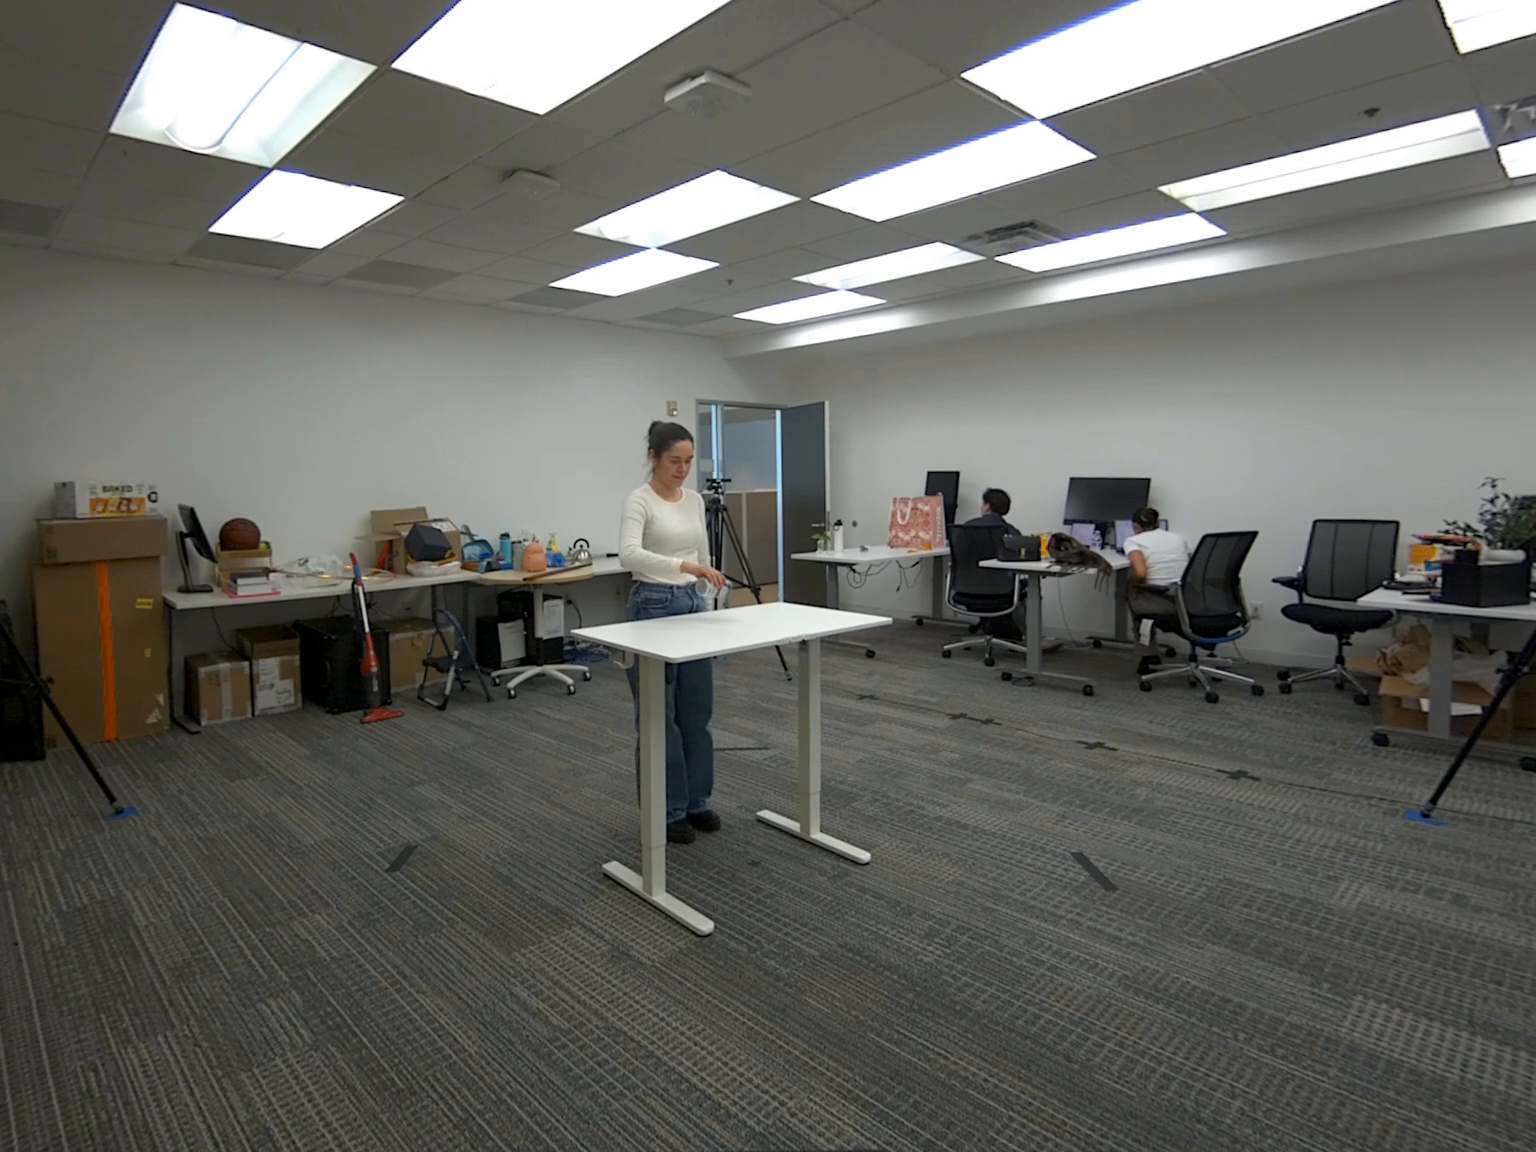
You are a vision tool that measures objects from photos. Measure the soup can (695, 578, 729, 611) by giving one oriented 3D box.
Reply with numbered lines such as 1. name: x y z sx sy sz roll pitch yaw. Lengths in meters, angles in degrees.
1. soup can: -0.223 0.060 3.049 0.067 0.119 0.068 -22 17 6
